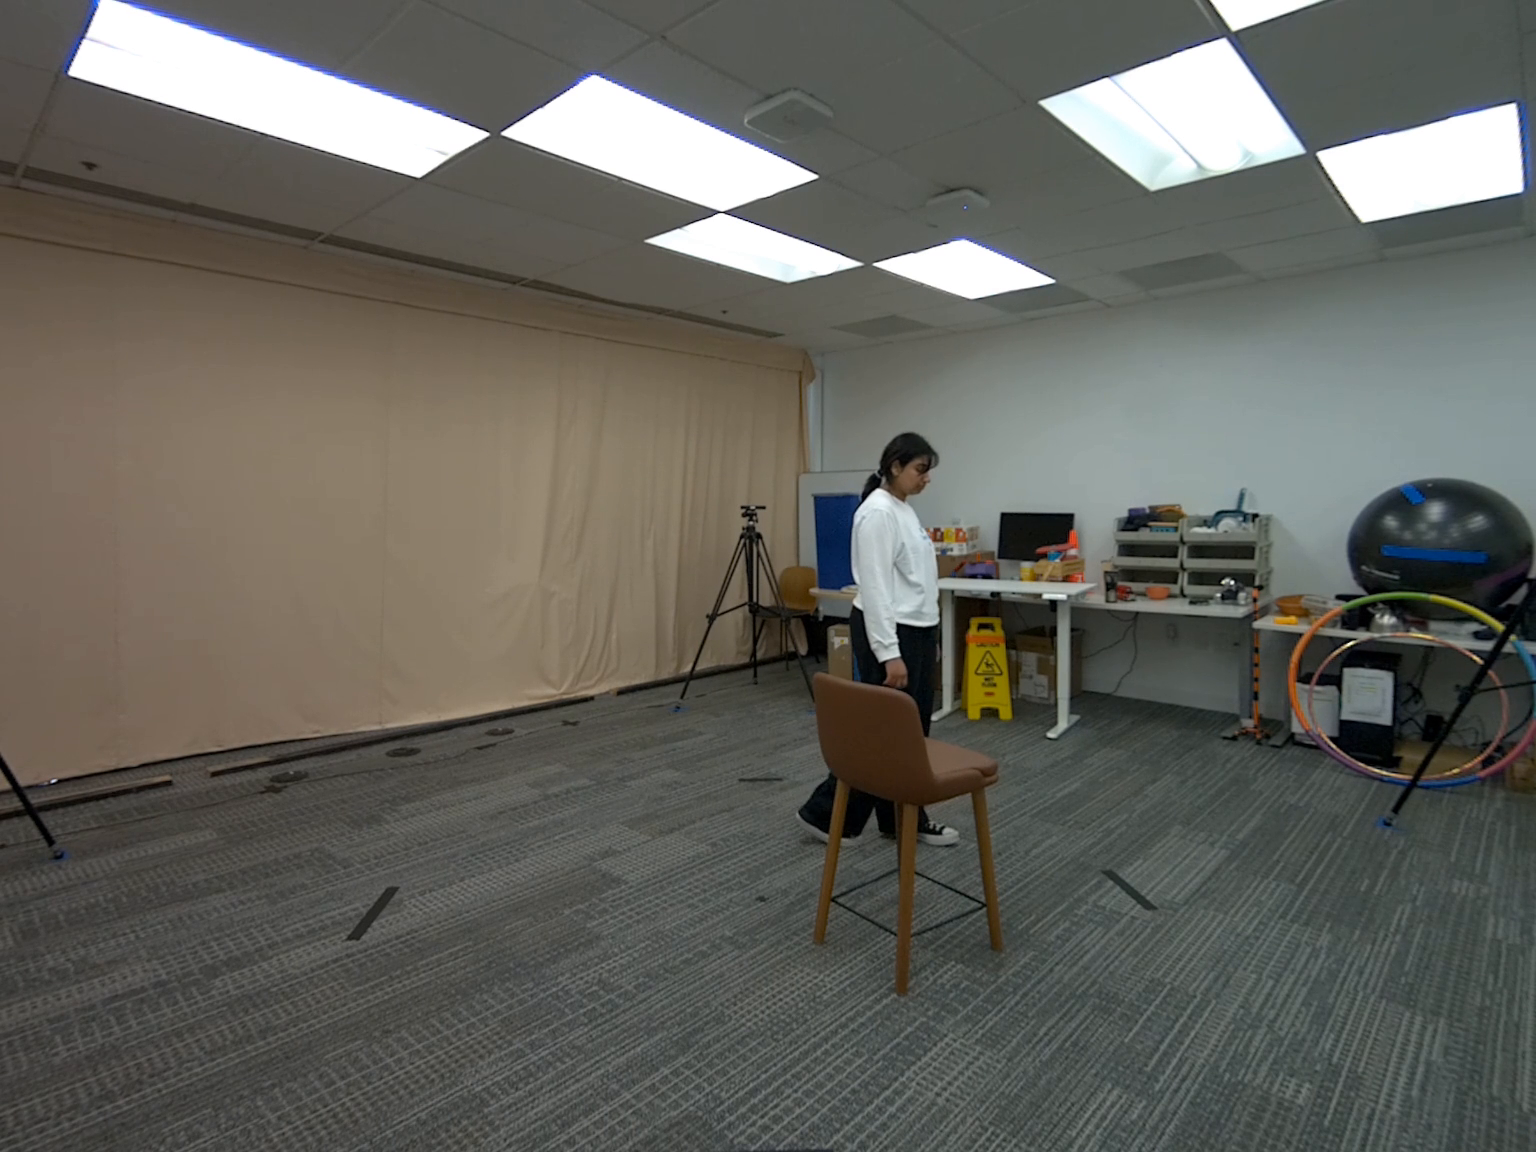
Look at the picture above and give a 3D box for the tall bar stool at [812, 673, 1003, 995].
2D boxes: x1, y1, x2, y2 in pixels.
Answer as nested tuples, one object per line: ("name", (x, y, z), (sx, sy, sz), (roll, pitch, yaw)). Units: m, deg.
("tall bar stool", (0.435, 0.735, 2.643), (0.454, 0.887, 0.471), (-5, 6, -38))
